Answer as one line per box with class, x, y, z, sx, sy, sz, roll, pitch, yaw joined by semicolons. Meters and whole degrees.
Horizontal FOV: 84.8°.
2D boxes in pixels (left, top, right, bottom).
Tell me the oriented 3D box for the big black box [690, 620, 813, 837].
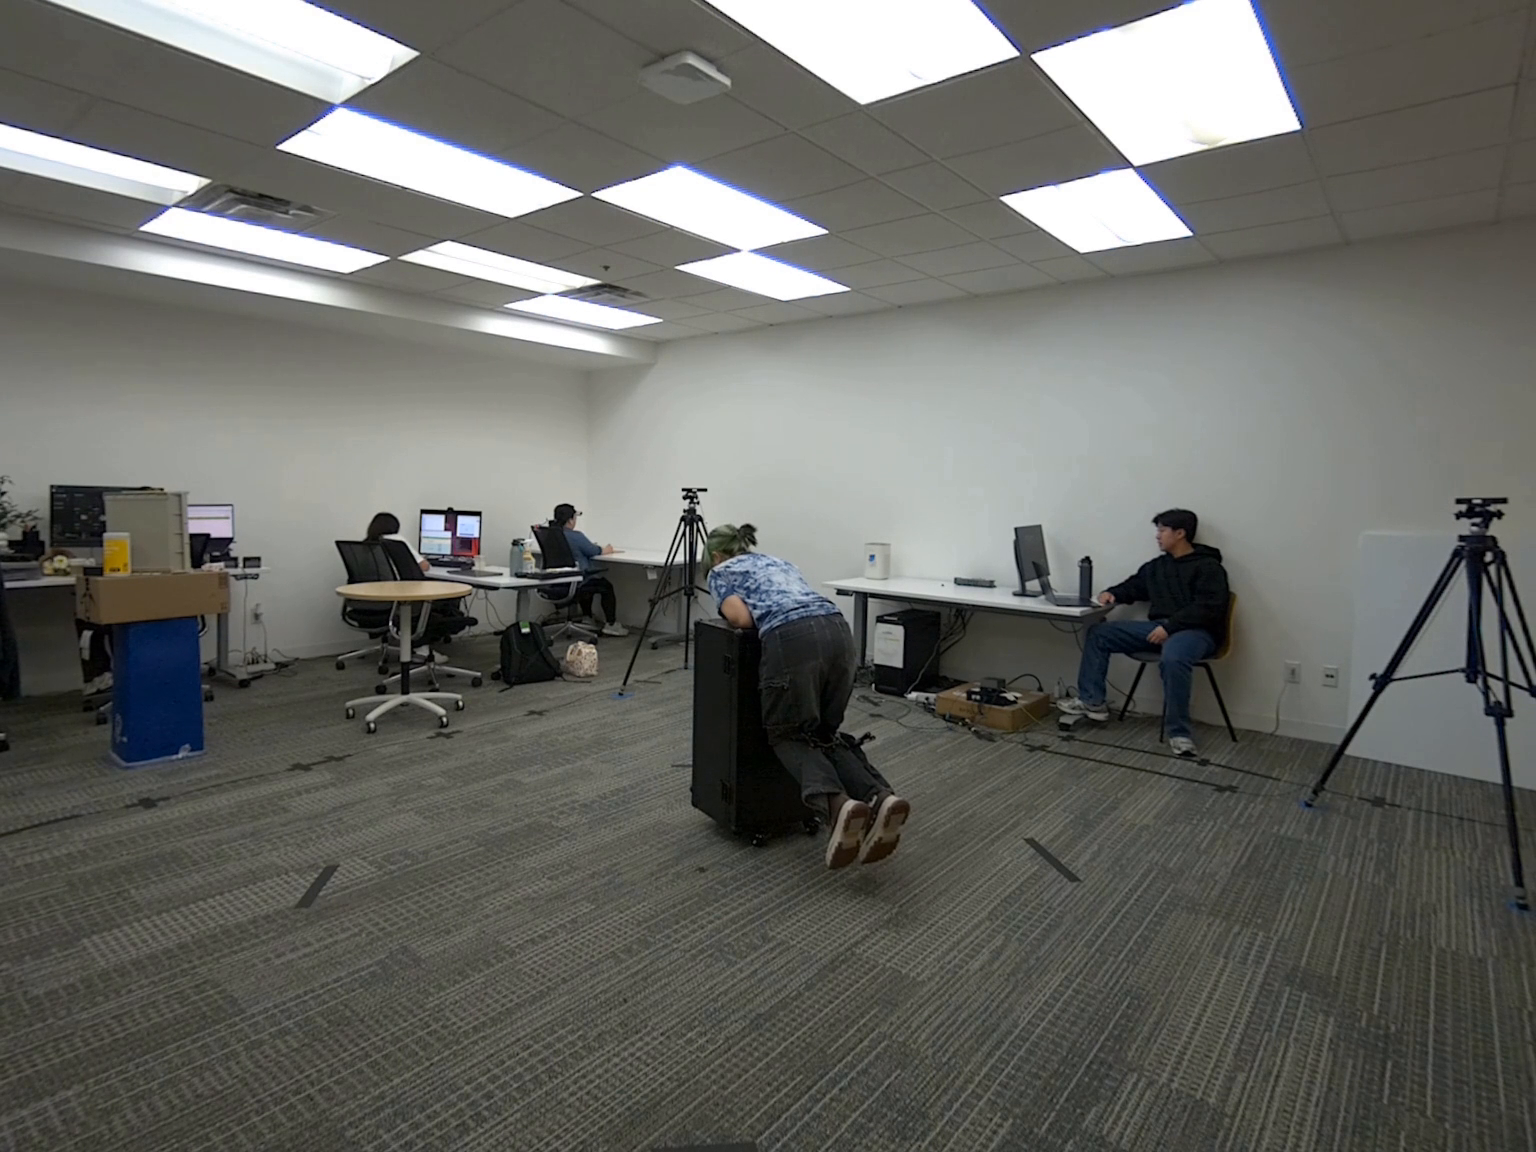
big black box;-0.030;0.558;3.515;0.507;0.860;0.408;0;2;-32
